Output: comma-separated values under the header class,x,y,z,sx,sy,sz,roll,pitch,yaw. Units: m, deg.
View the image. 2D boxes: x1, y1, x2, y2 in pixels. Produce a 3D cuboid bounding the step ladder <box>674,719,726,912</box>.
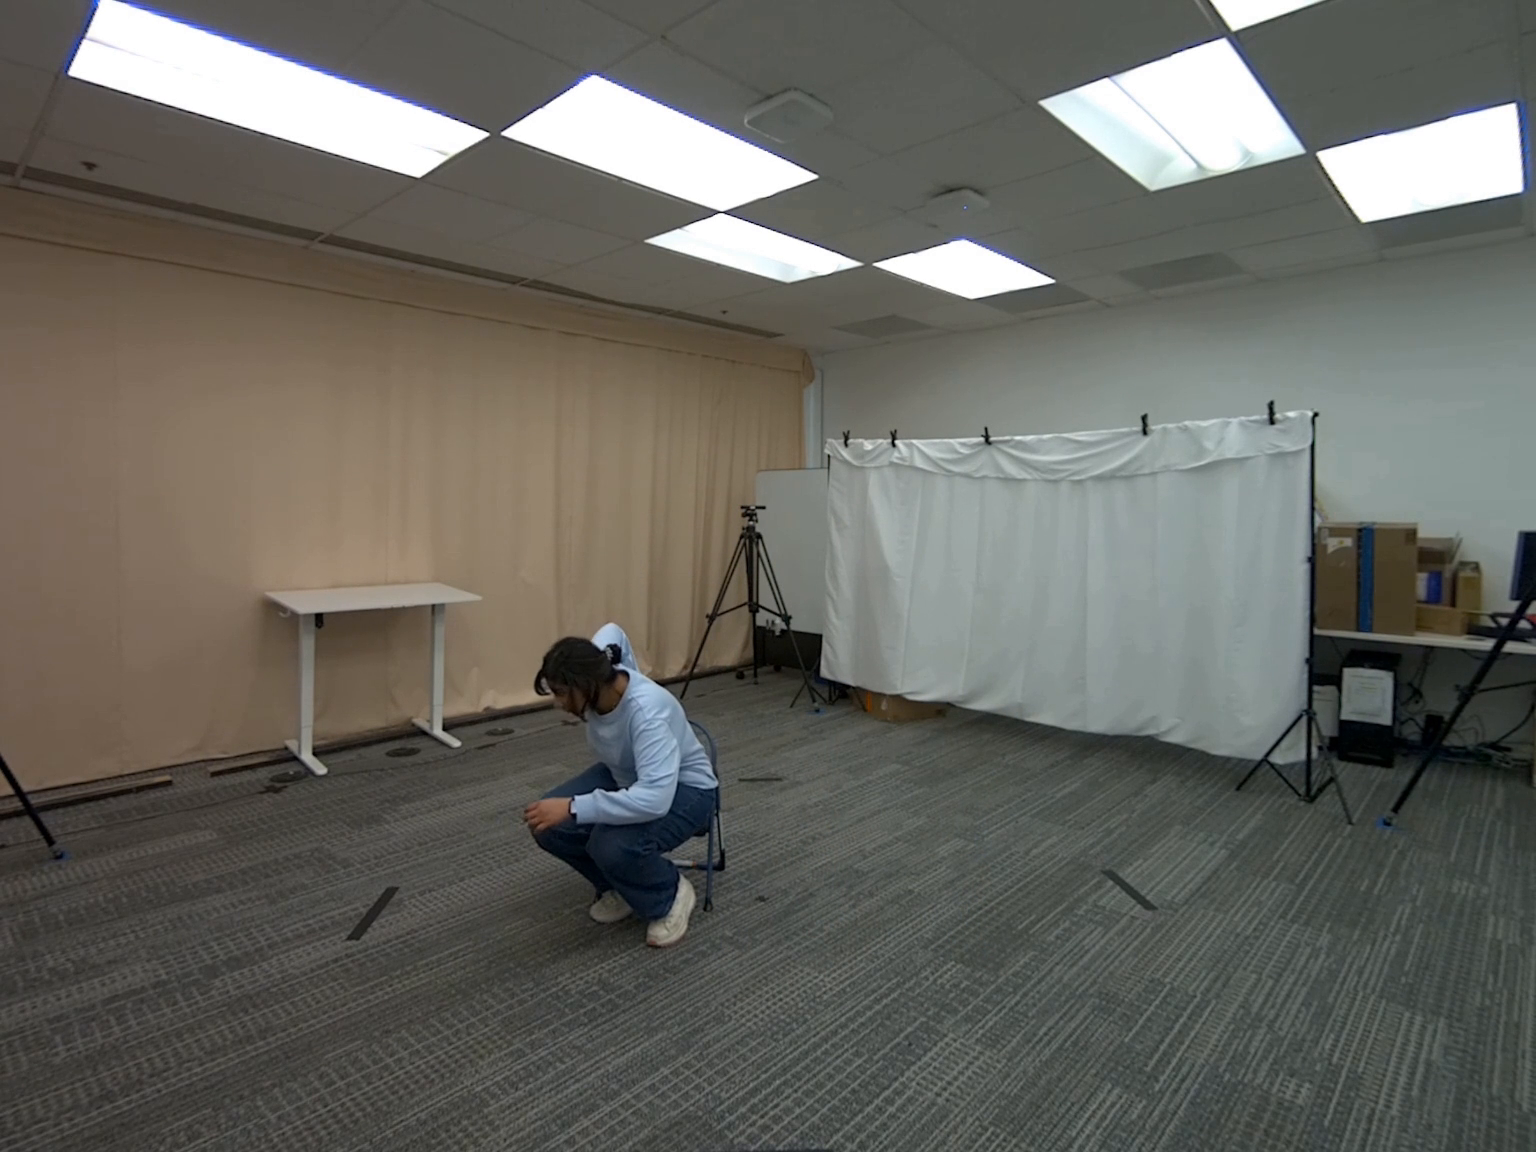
class,x,y,z,sx,sy,sz,roll,pitch,yaw
step ladder,-0.382,0.840,3.089,0.434,0.605,0.347,2,3,7
